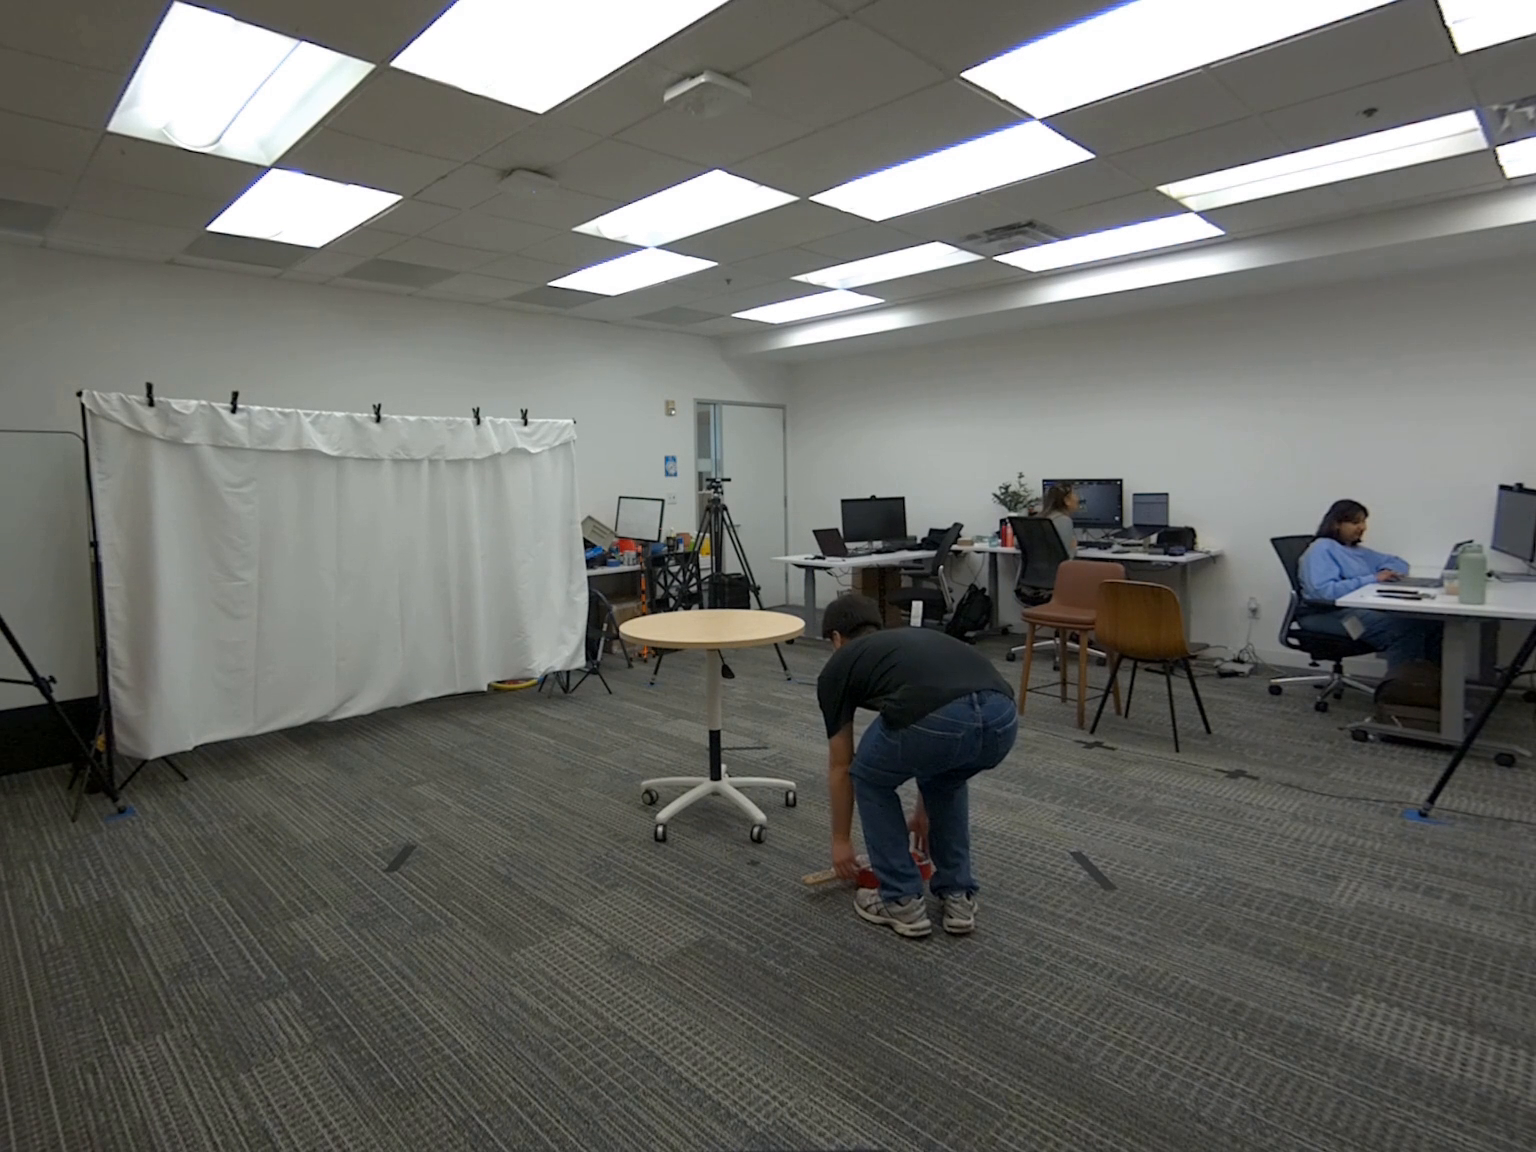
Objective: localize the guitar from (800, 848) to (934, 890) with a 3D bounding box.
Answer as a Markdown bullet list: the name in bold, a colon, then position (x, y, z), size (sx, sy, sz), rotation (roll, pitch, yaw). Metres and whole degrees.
- **guitar**: position (0.329, 1.017, 2.972), size (0.489, 0.070, 0.197), rotation (-3, 6, -19)
